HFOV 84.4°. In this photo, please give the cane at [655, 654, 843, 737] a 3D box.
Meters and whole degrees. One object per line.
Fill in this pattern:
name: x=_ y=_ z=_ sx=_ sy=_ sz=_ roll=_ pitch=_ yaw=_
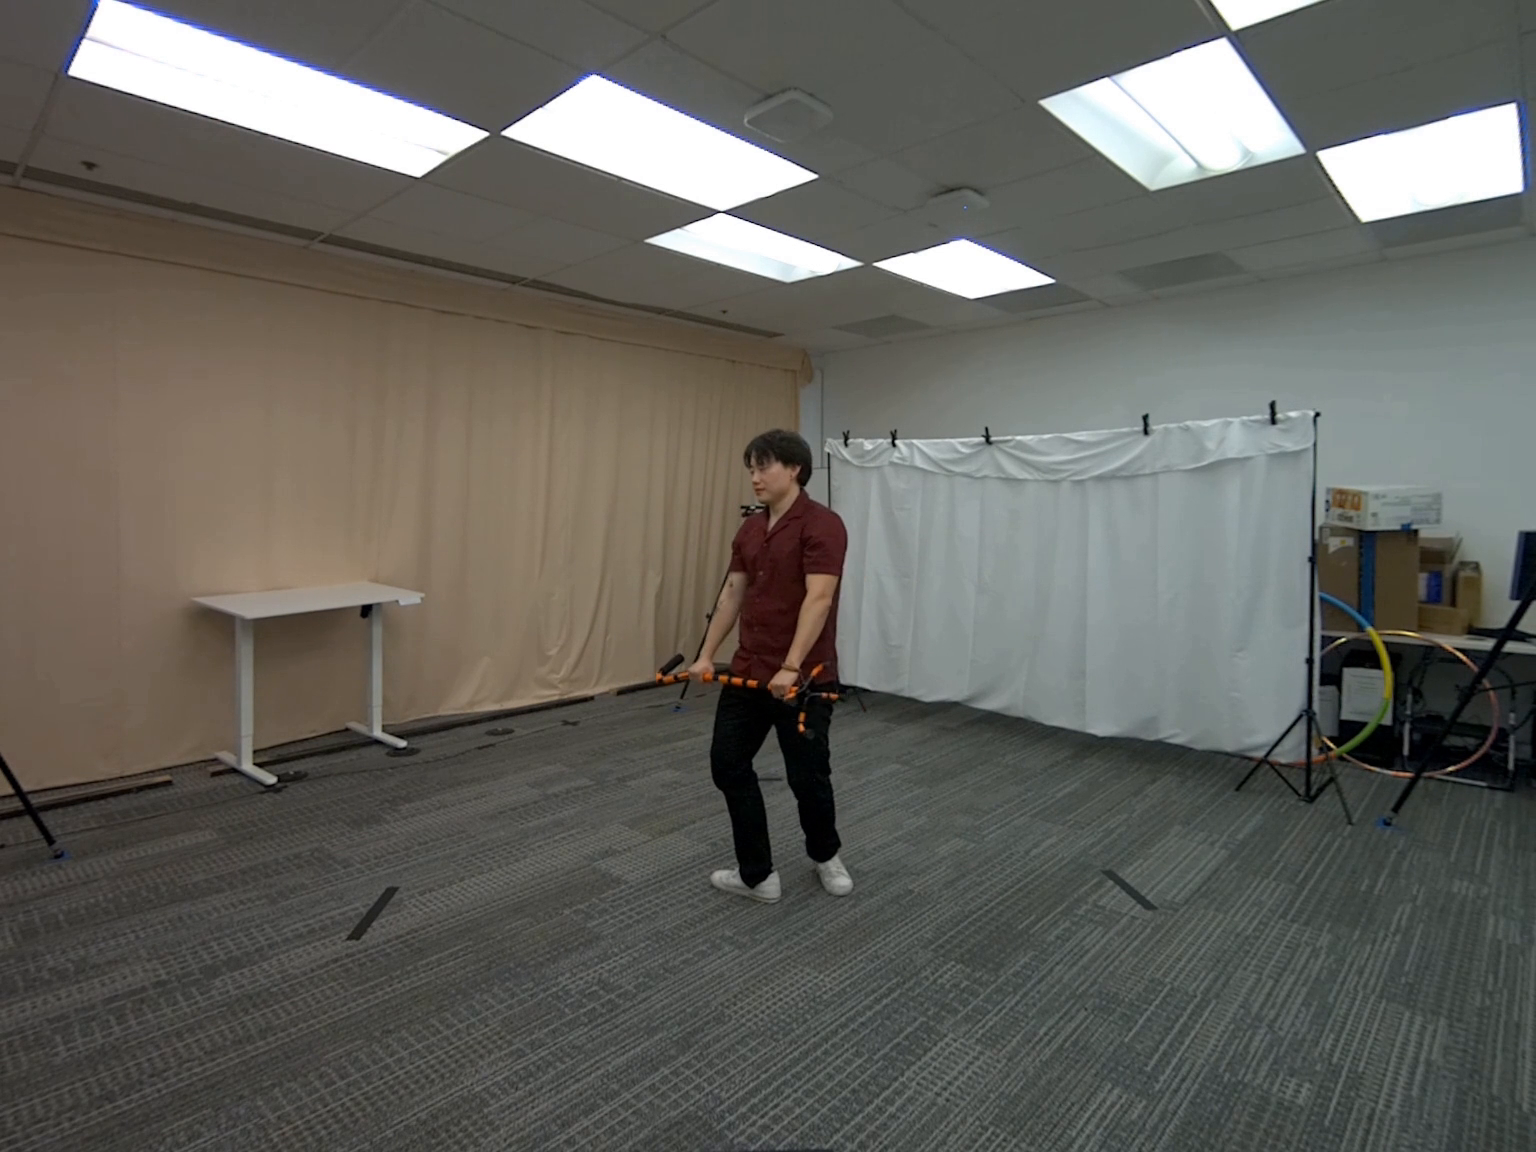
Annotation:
cane: x=-0.132 y=0.375 z=2.930 sx=0.204 sy=0.149 sz=0.935 roll=-40 pitch=23 yaw=-31
